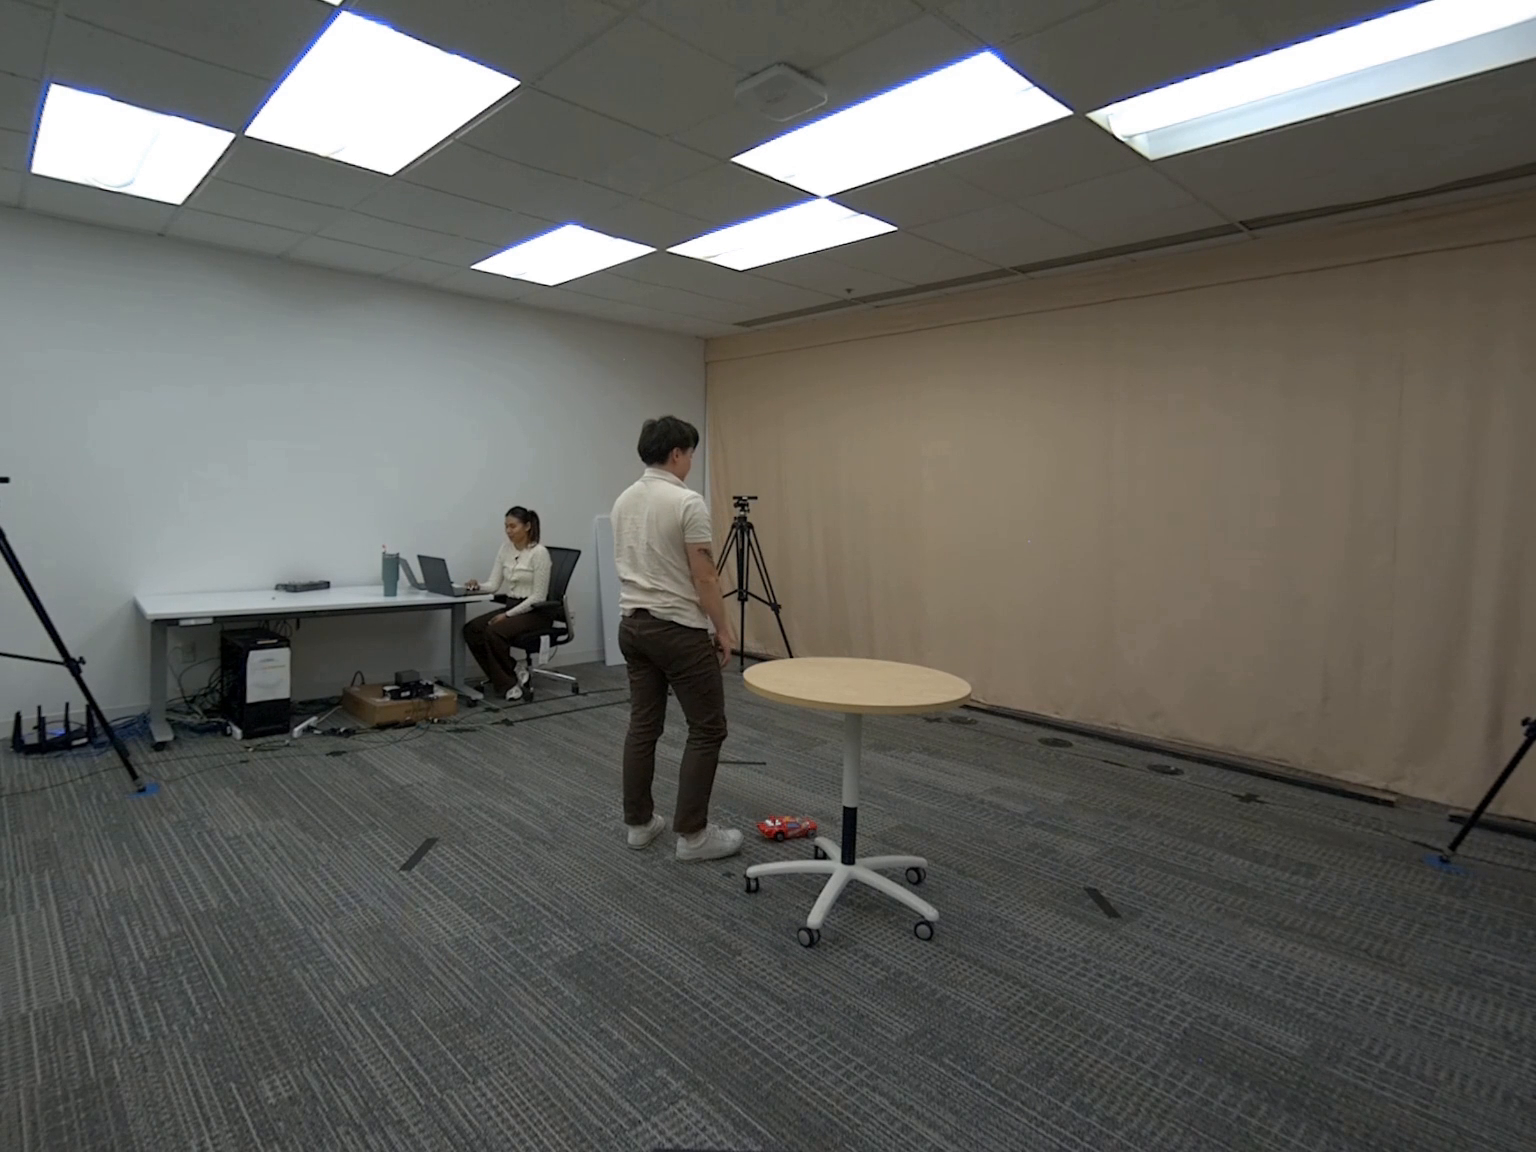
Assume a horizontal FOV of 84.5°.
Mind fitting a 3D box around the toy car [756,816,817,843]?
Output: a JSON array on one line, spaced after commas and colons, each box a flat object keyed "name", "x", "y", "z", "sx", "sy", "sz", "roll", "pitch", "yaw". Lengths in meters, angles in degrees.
[{"name": "toy car", "x": 0.066, "y": 1.043, "z": 3.482, "sx": 0.250, "sy": 0.083, "sz": 0.132, "roll": 11, "pitch": 0, "yaw": -21}]
